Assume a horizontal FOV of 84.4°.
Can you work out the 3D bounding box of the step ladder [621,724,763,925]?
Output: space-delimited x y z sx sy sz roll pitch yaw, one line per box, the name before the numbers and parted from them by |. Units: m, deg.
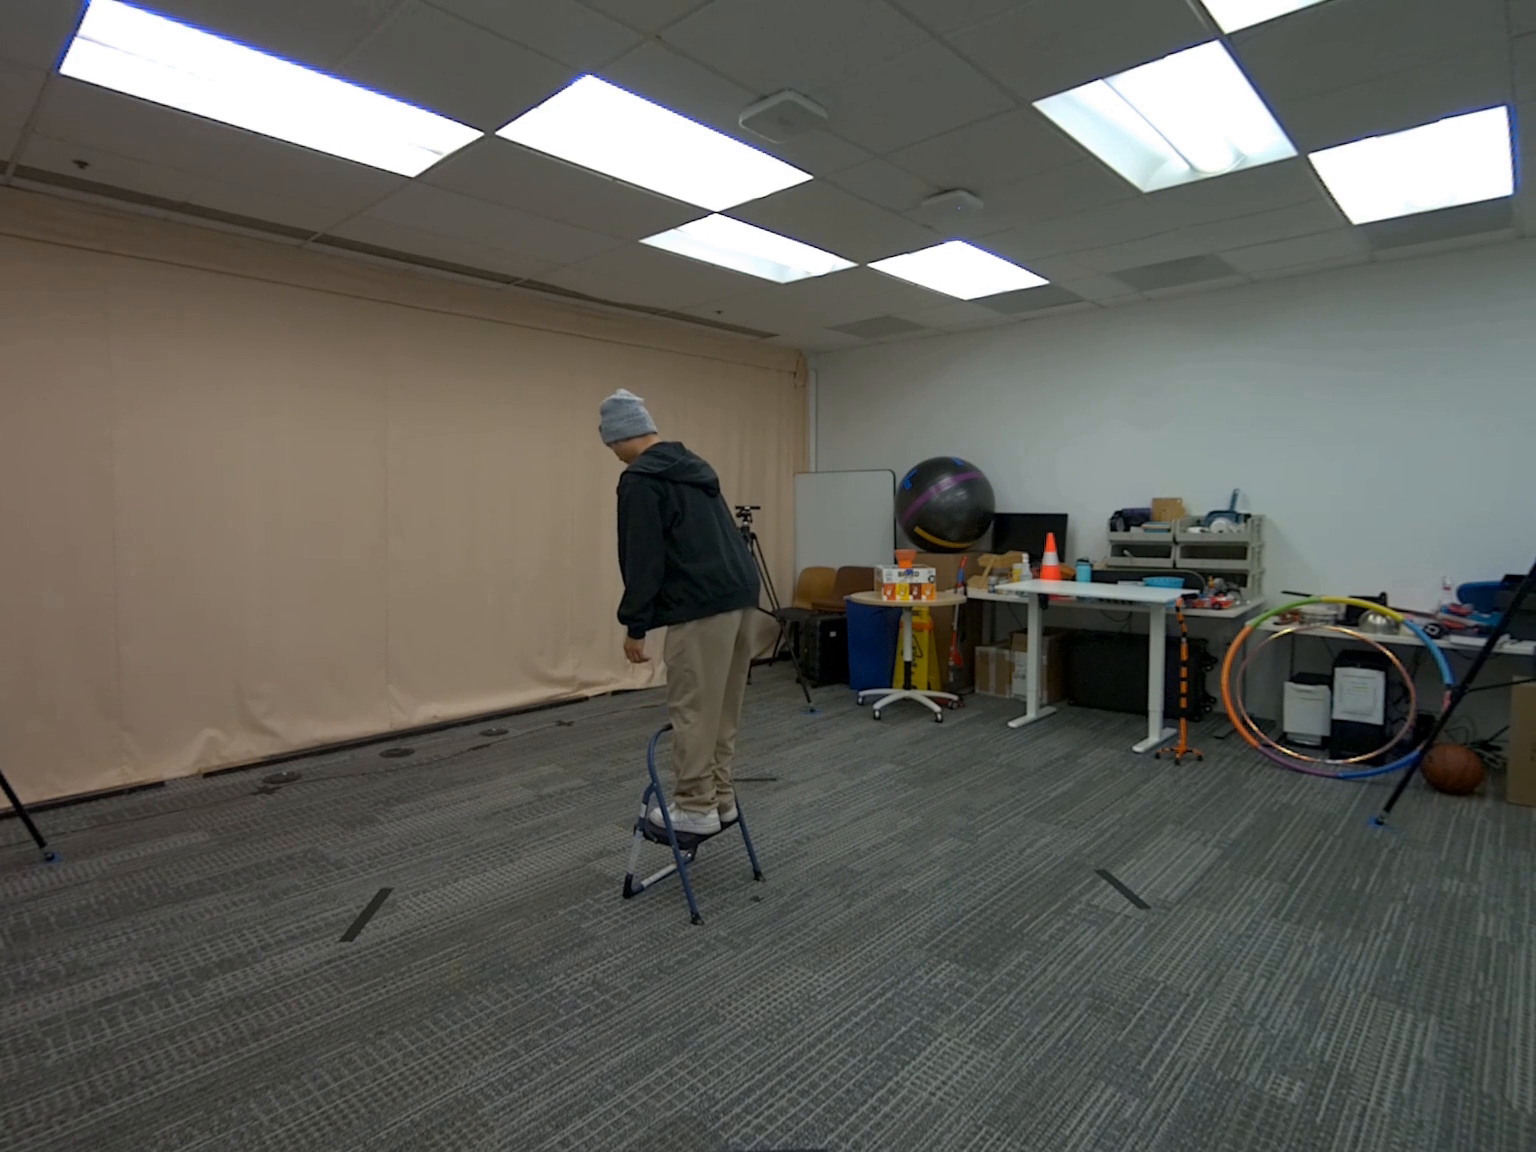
step ladder | -0.268 0.838 3.055 0.360 0.605 0.419 1 3 33
